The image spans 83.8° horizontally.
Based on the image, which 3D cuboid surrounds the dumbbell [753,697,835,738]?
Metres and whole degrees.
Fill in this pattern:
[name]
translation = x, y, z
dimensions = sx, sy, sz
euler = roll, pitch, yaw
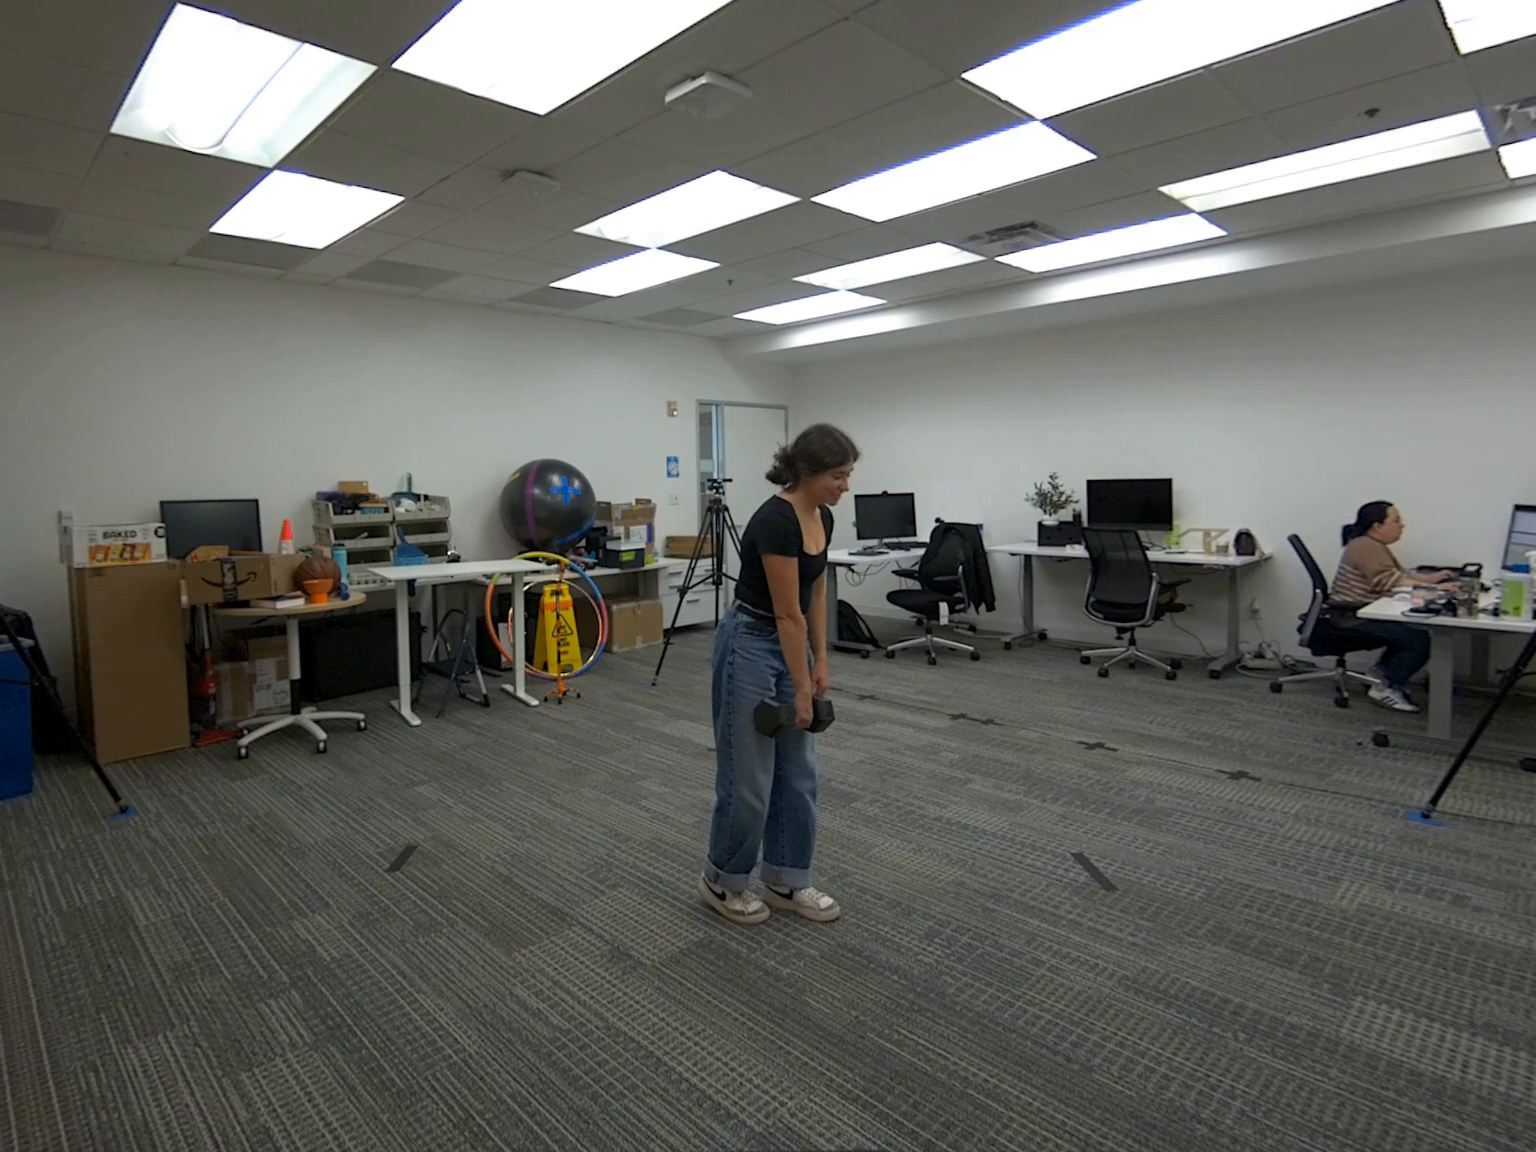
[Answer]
[dumbbell]
translation = 0.079, 0.429, 2.623
dimensions = 0.284, 0.122, 0.112
euler = 4, 40, -51
